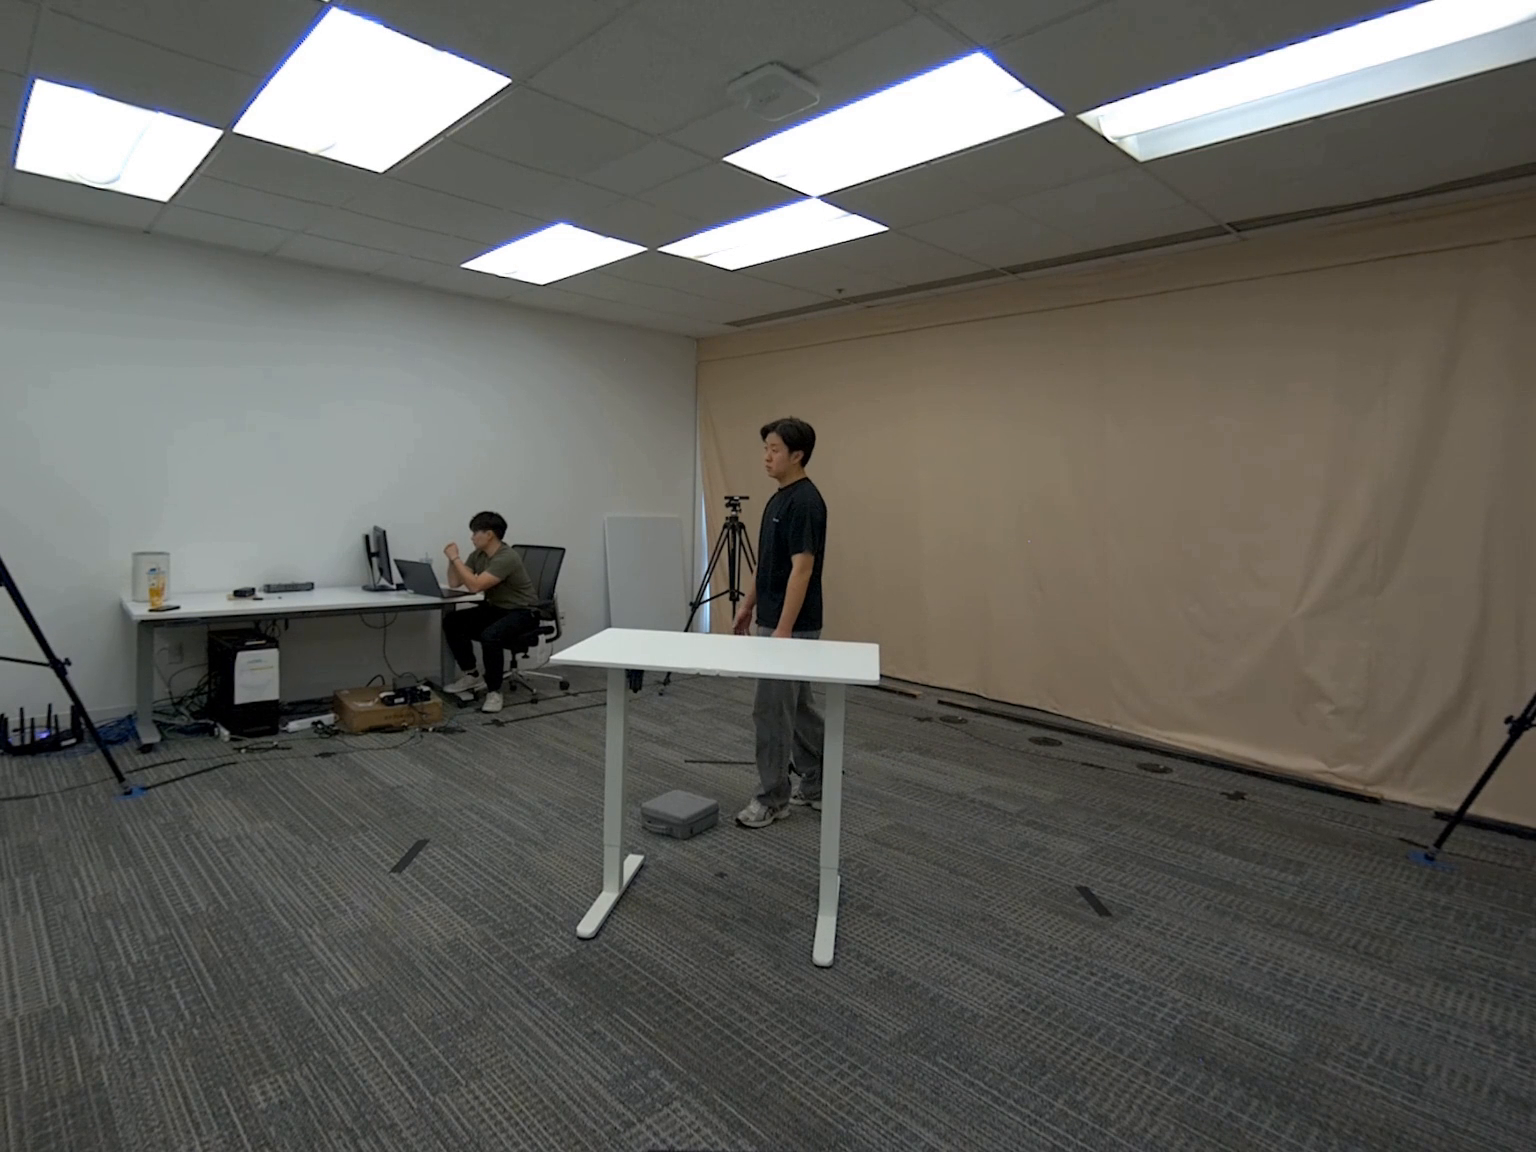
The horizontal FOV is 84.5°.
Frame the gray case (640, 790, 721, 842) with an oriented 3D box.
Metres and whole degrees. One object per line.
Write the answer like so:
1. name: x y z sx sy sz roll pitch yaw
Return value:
1. gray case: -0.388 1.007 3.552 0.269 0.103 0.281 4 7 35
